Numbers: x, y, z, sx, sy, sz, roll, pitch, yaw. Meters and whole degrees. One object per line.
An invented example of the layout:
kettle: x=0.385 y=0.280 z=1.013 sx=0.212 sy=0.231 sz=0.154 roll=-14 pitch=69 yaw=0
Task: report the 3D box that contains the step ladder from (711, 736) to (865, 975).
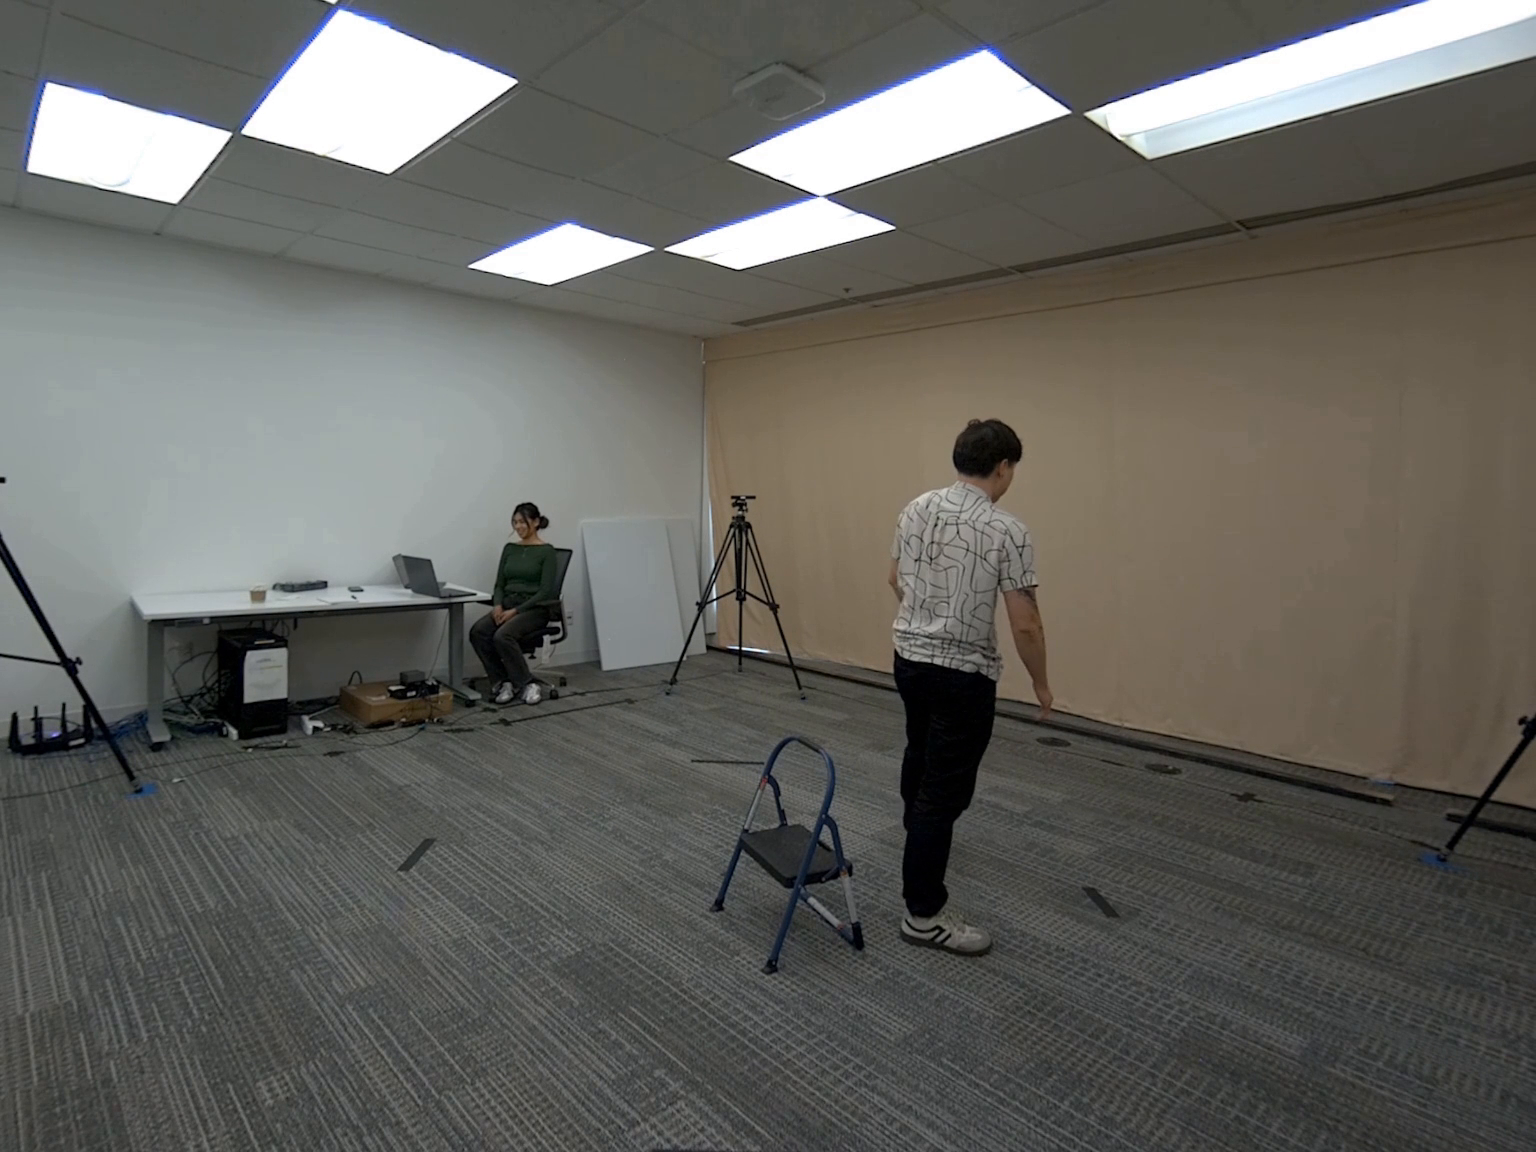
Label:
step ladder: x=0.056 y=0.842 z=2.702 sx=0.343 sy=0.604 sz=0.440 roll=-1 pitch=5 yaw=-27
